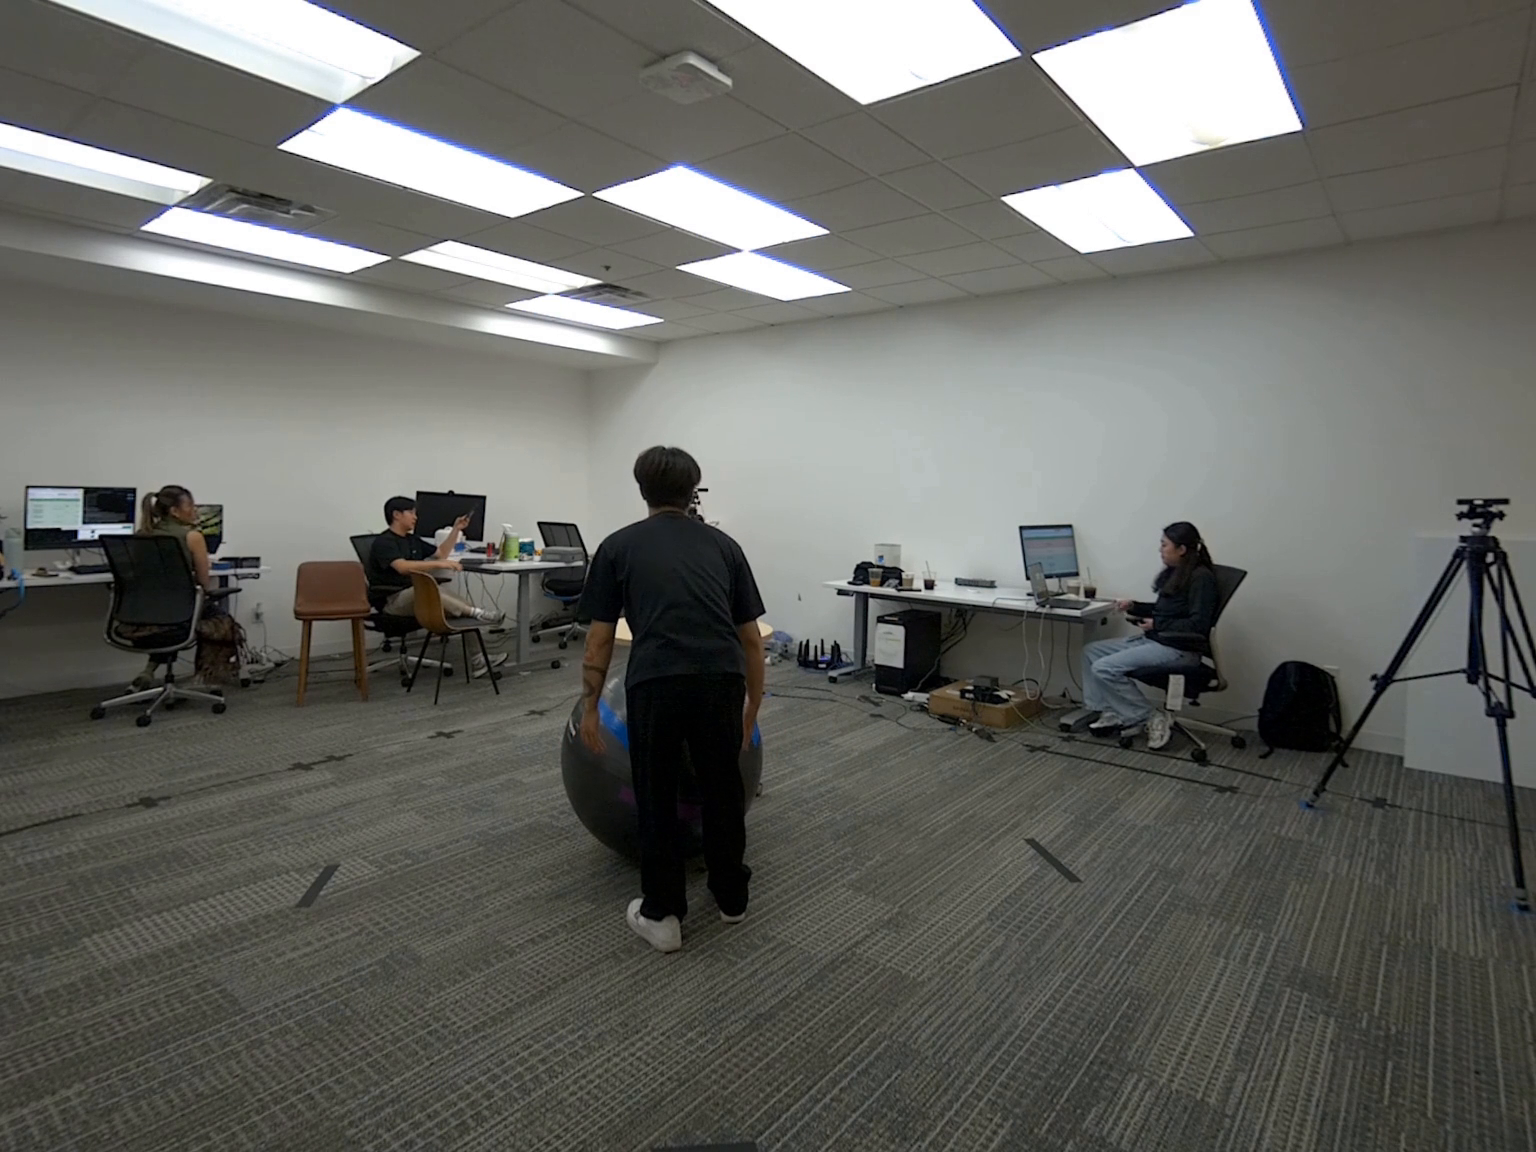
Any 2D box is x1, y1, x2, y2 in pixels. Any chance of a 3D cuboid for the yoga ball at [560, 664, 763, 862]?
[{"bbox_3d":[-0.408,0.677,3.222,0.757,0.755,0.762,1,4,-2],"label":"yoga ball"}]
